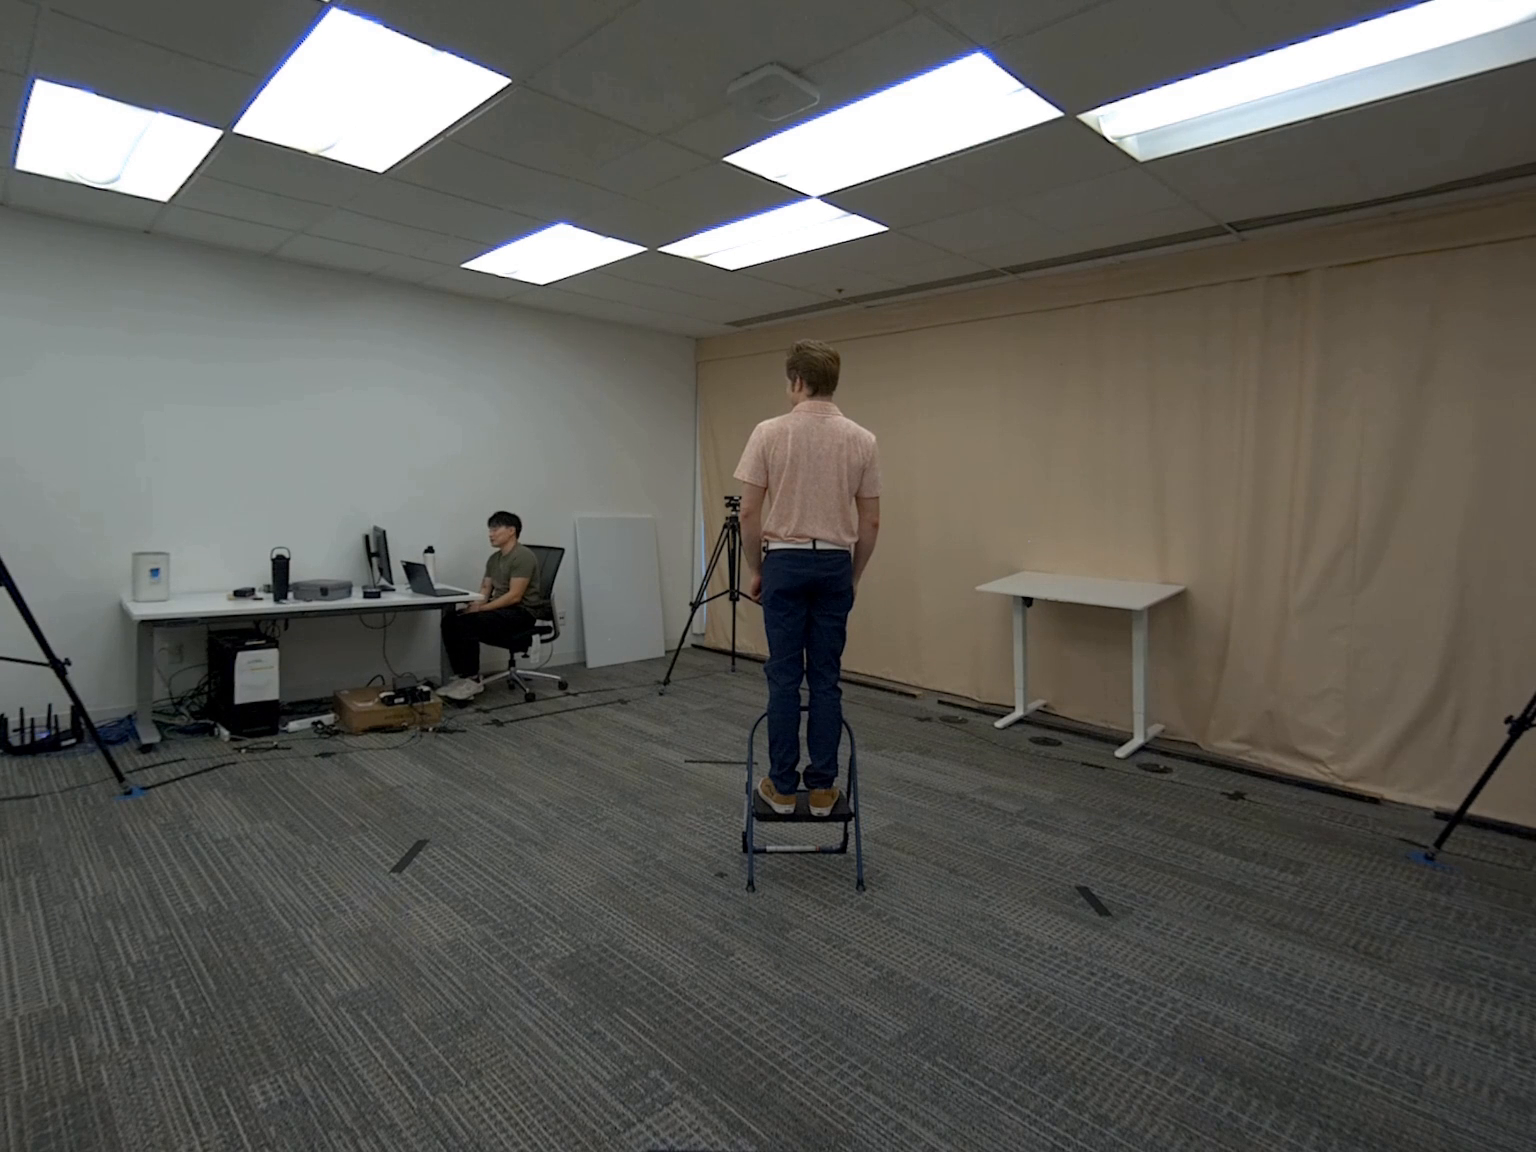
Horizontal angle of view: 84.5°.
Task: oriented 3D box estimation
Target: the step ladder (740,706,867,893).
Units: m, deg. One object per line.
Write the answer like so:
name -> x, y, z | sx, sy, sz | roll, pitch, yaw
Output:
step ladder -> 0.122, 0.807, 3.149 | 0.429, 0.604, 0.351 | 1, 4, -5
